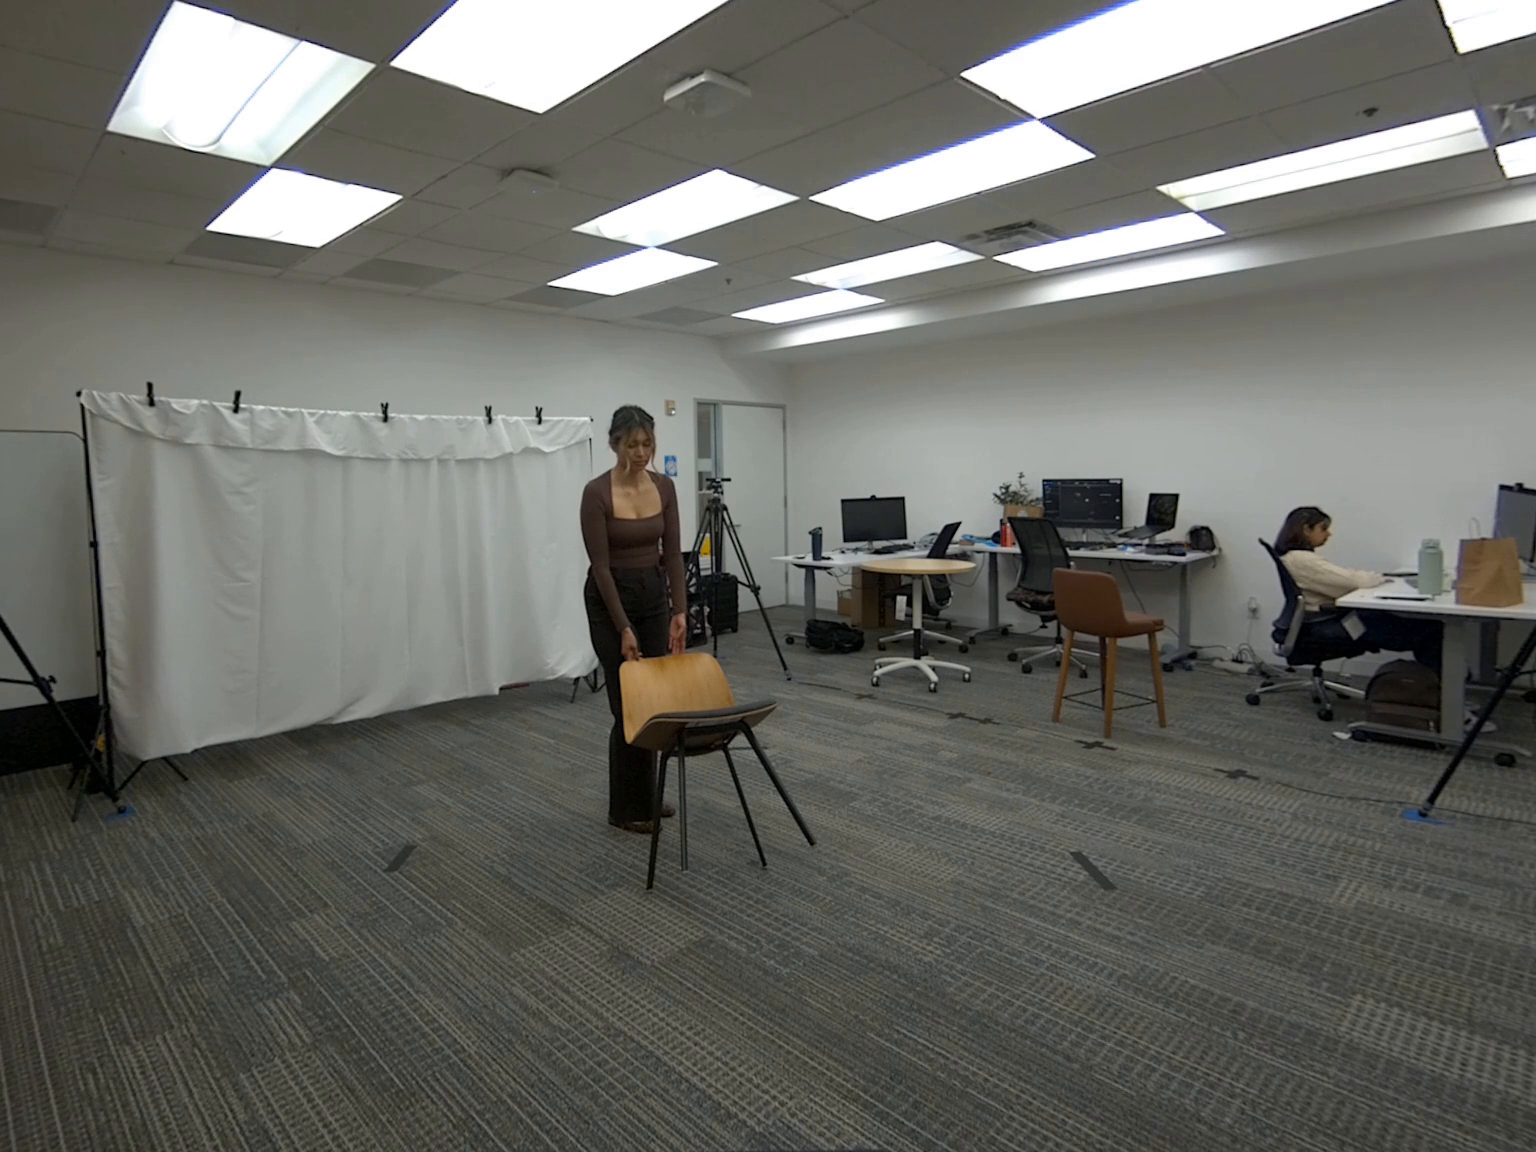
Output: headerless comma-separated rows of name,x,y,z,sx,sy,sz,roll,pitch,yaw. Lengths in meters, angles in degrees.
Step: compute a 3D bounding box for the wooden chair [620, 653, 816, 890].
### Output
wooden chair,-0.222,0.572,2.975,0.469,0.903,0.519,-3,-31,-23
